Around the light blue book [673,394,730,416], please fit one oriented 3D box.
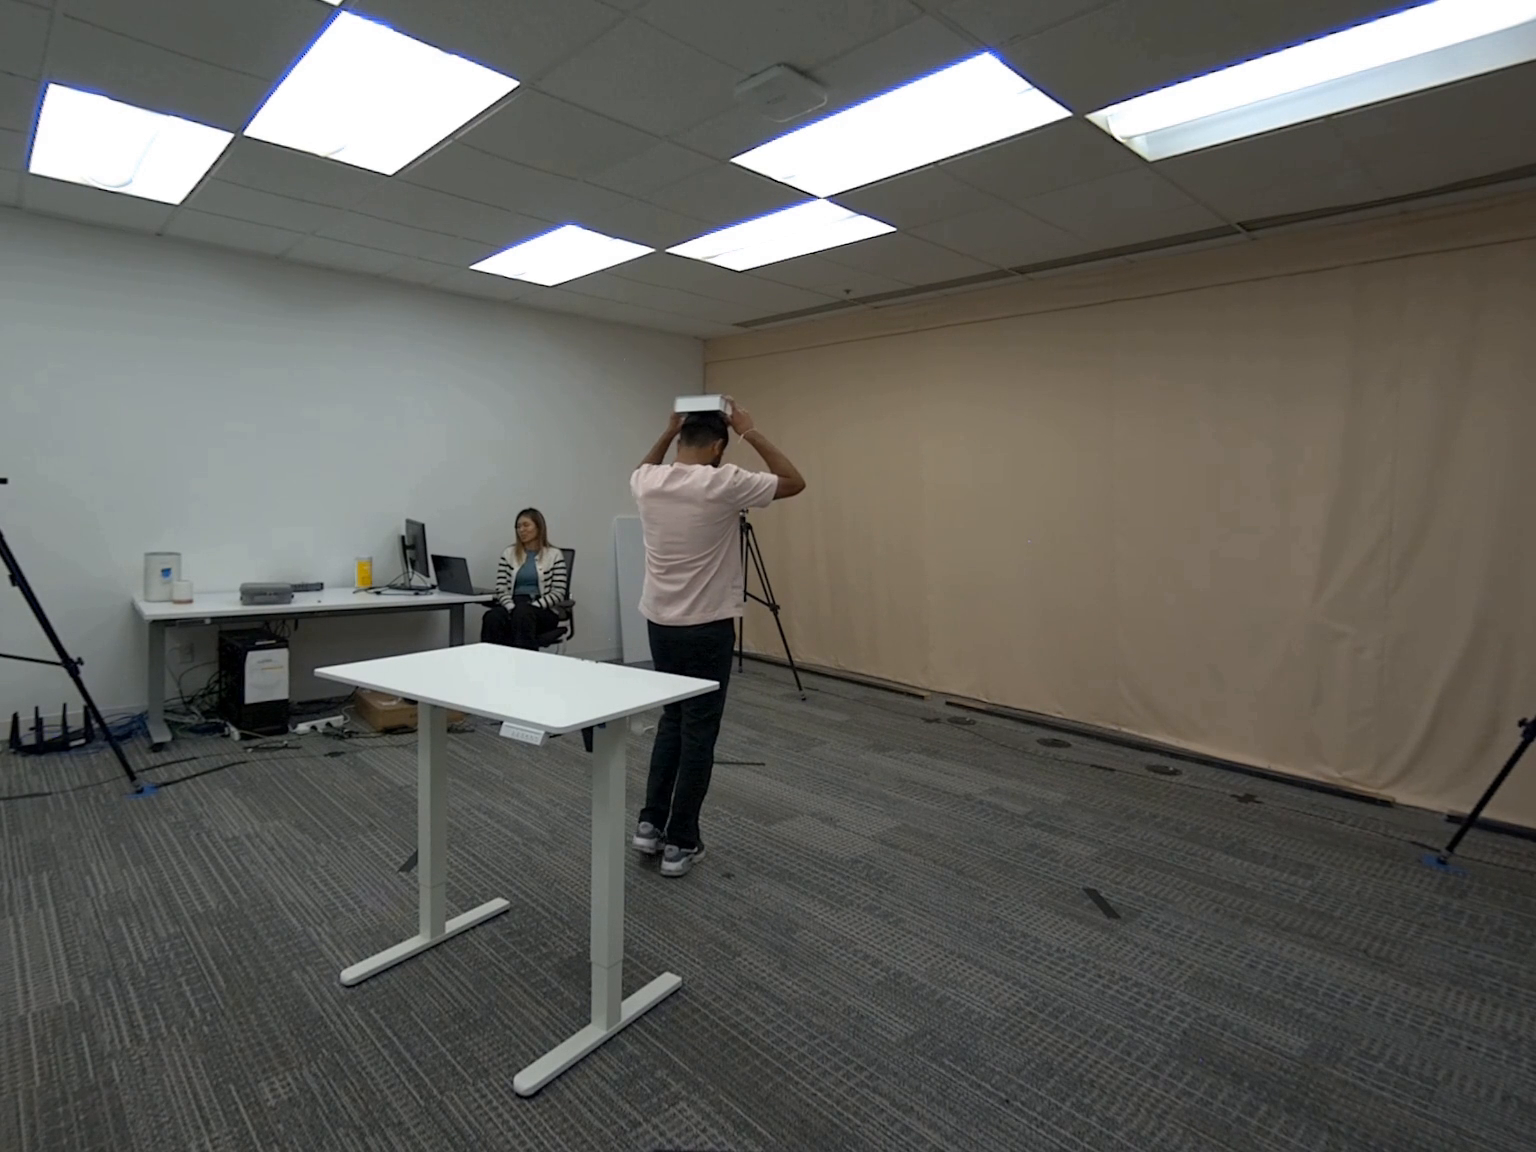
[{"bbox_3d":[-0.213,-0.627,3.221,0.194,0.059,0.257,2,-1,17],"label":"light blue book"}]
